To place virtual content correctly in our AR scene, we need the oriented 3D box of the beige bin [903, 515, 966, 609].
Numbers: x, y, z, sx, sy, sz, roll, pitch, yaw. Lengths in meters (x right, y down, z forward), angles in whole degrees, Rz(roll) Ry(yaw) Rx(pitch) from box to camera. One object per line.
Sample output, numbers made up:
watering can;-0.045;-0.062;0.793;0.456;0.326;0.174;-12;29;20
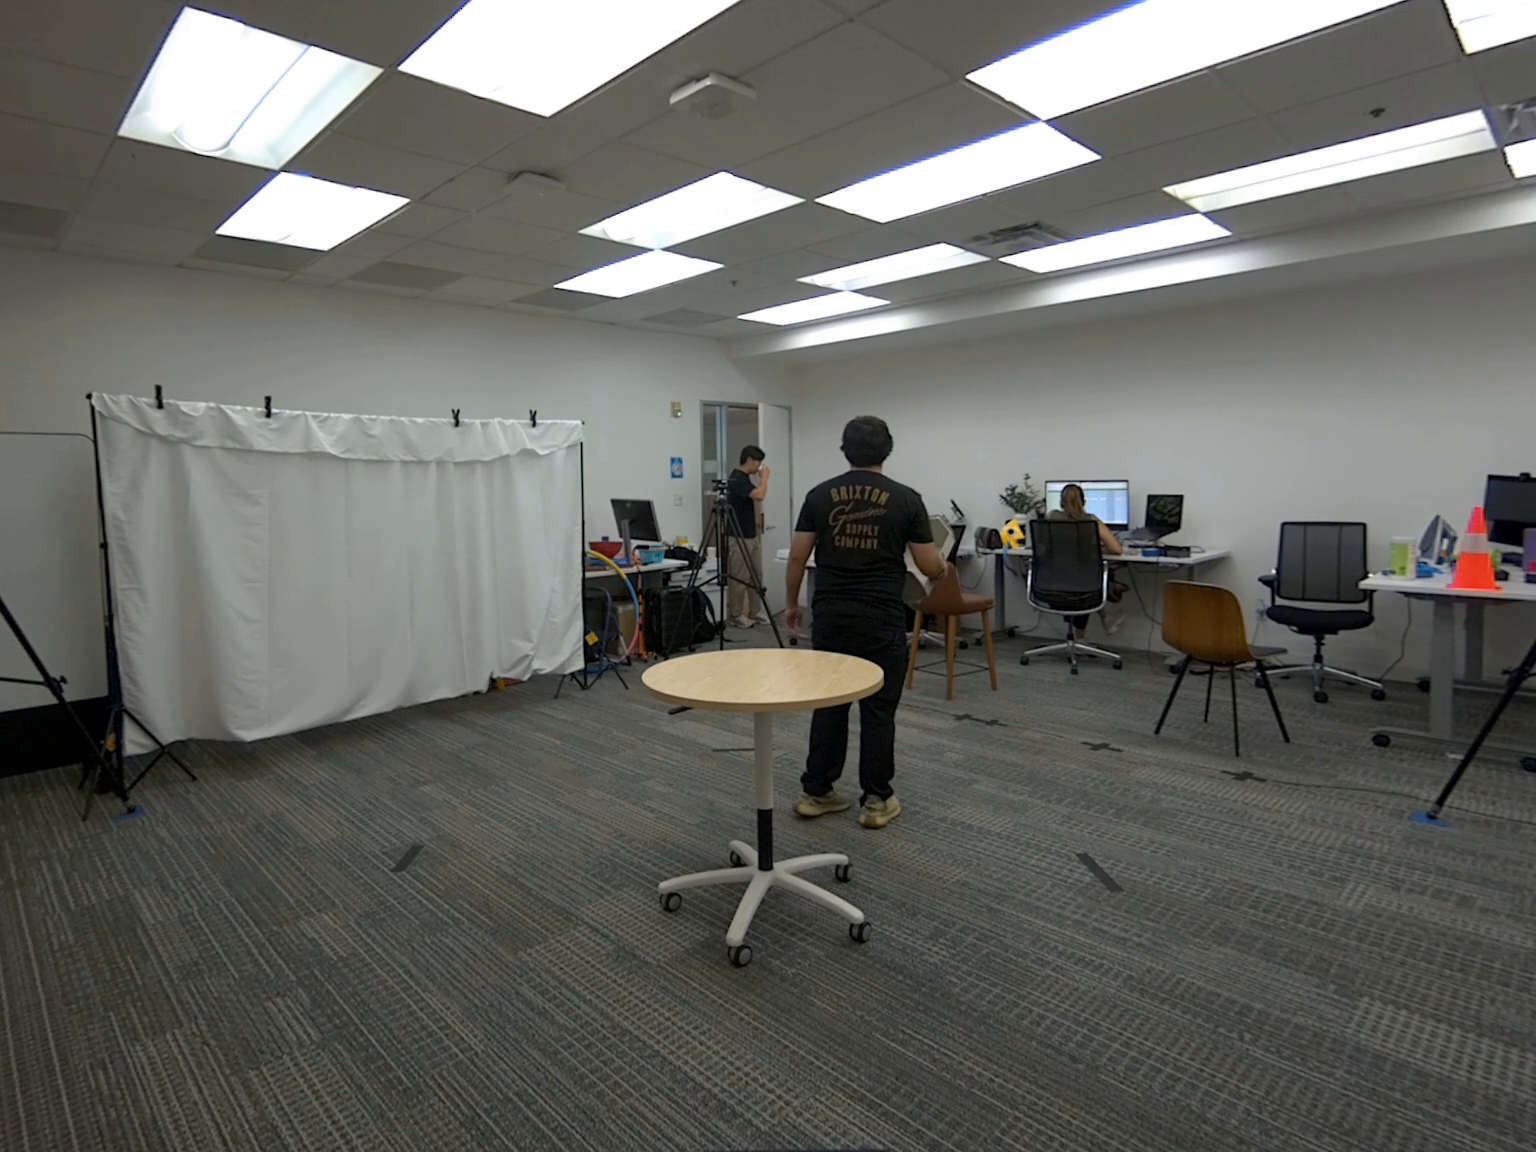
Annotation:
beige bin;0.596;-0.075;3.834;0.387;0.183;0.424;-3;36;36
